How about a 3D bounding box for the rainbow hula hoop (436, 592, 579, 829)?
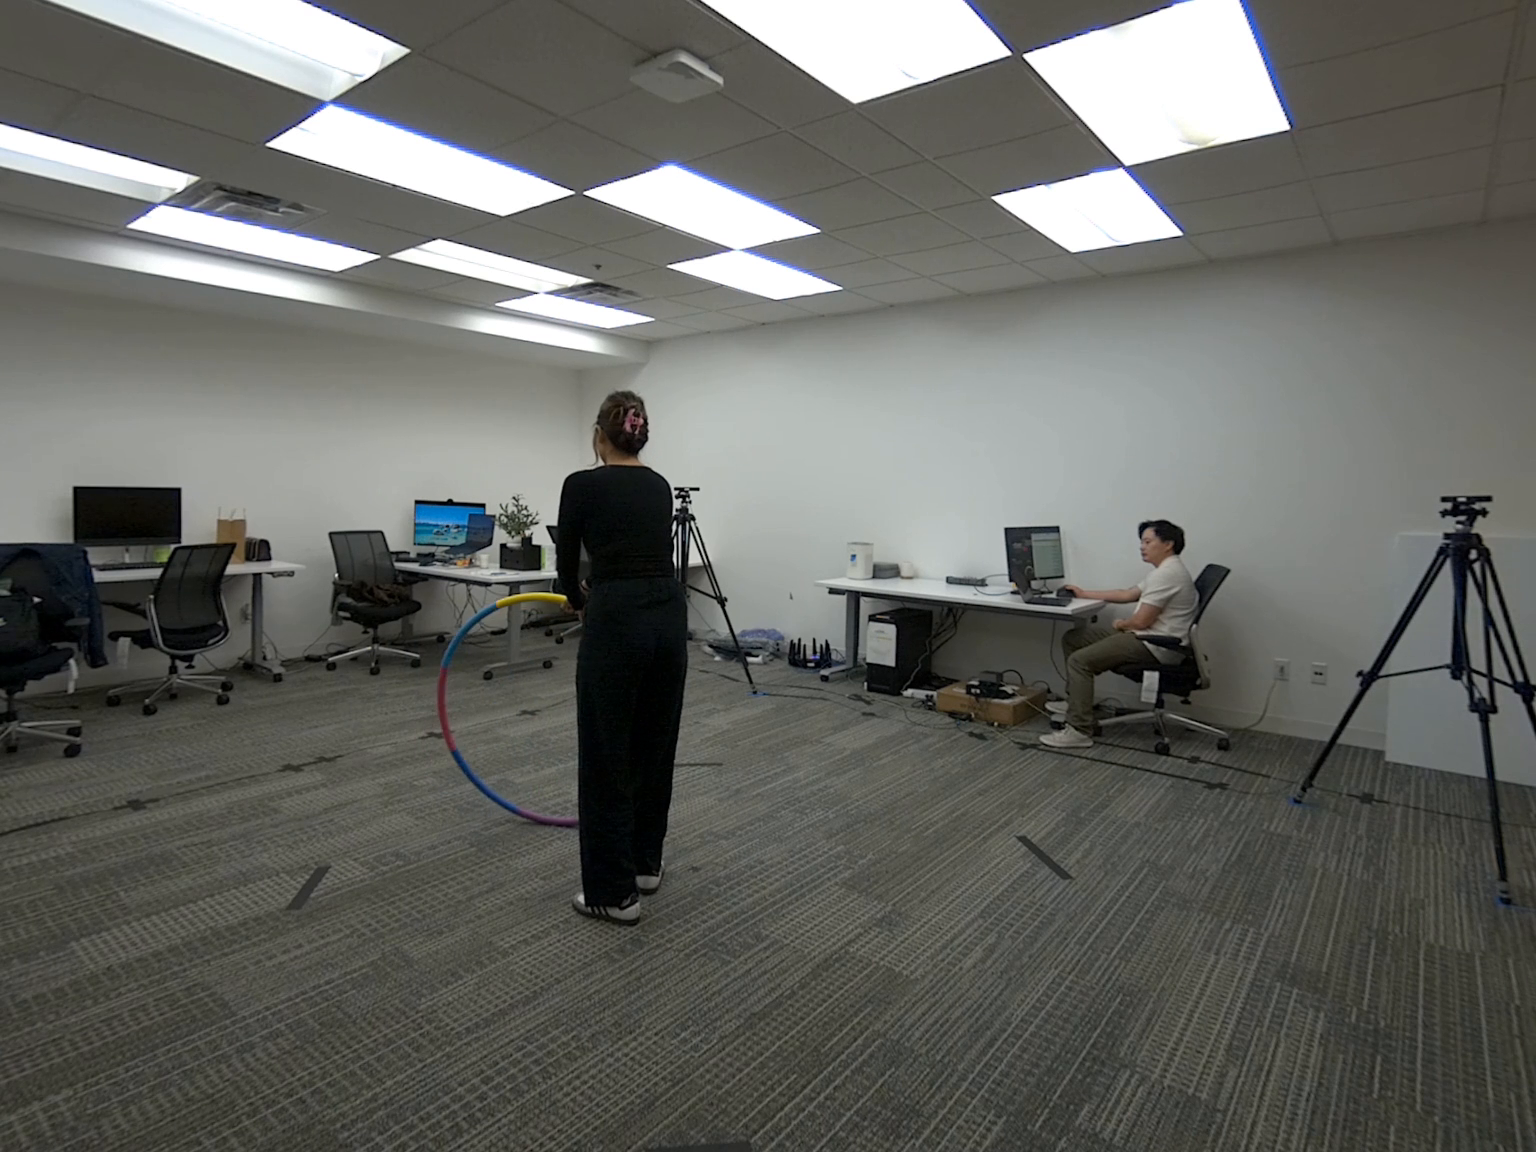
[{"bbox_3d":[-0.887,0.548,3.422,0.991,0.971,0.035,2,8,12],"label":"rainbow hula hoop"}]
